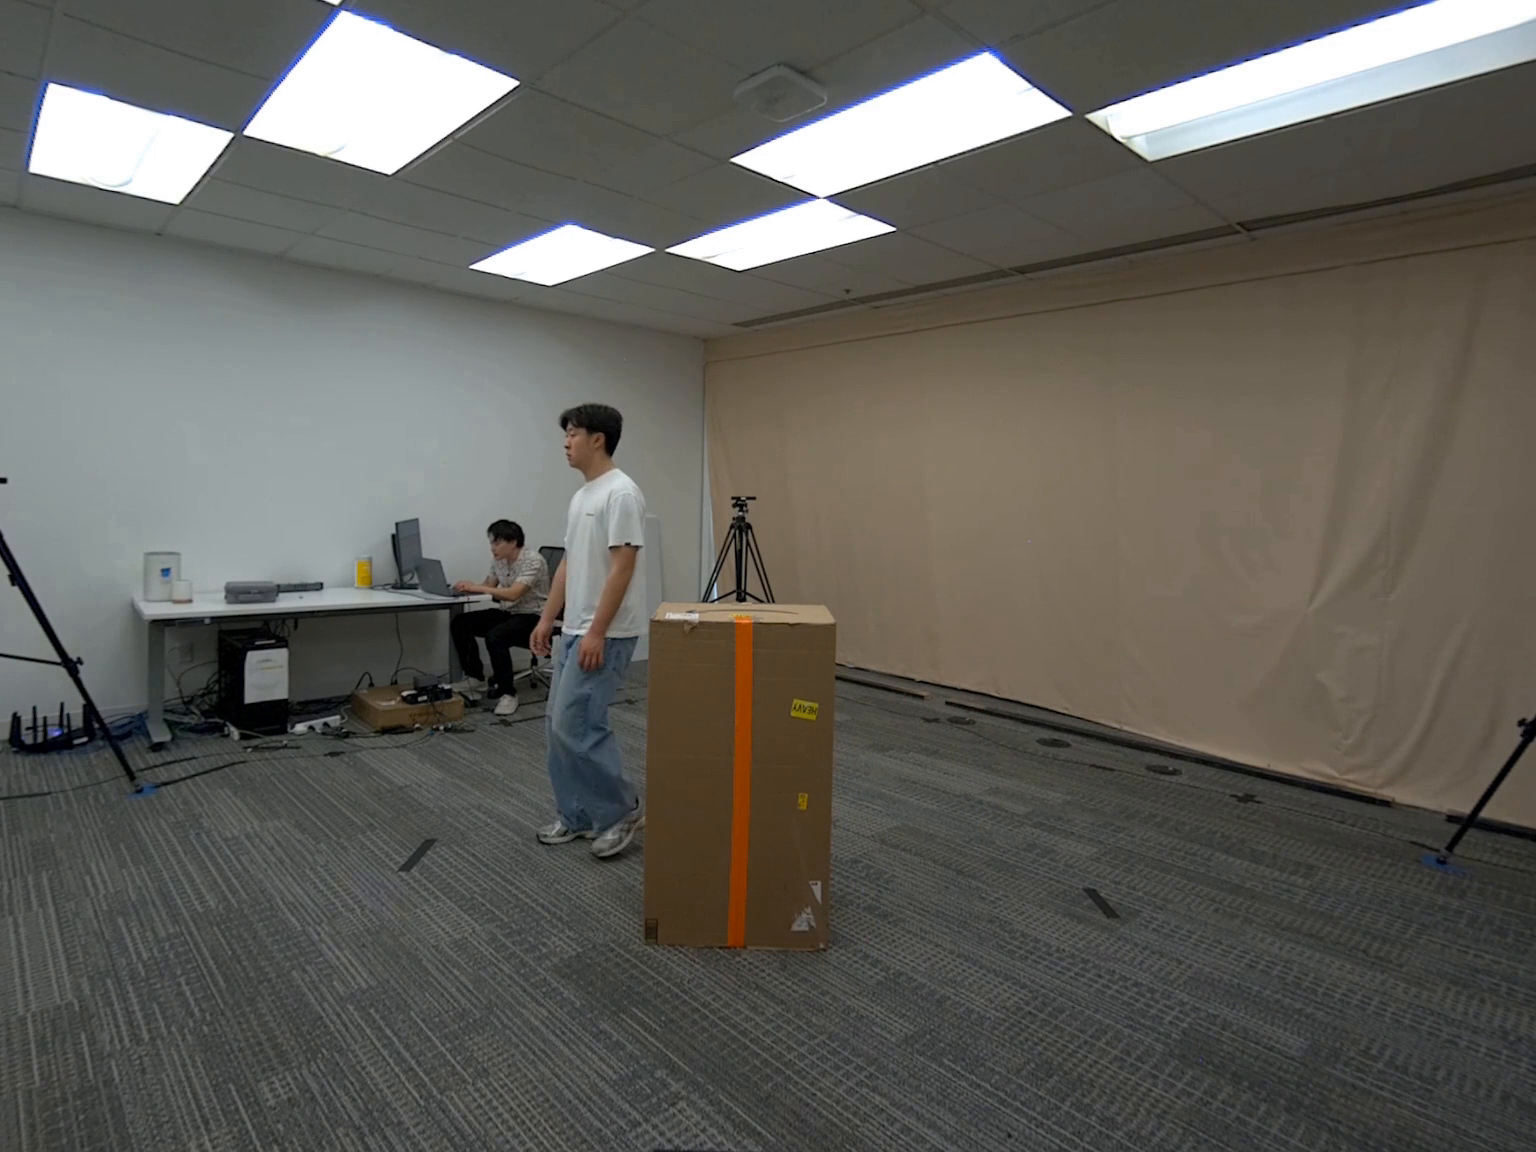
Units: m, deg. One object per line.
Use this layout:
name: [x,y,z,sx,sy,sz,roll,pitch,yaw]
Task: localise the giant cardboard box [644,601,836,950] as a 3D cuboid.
giant cardboard box: [-0.100,0.627,2.783,0.577,1.023,0.427,2,3,0]
